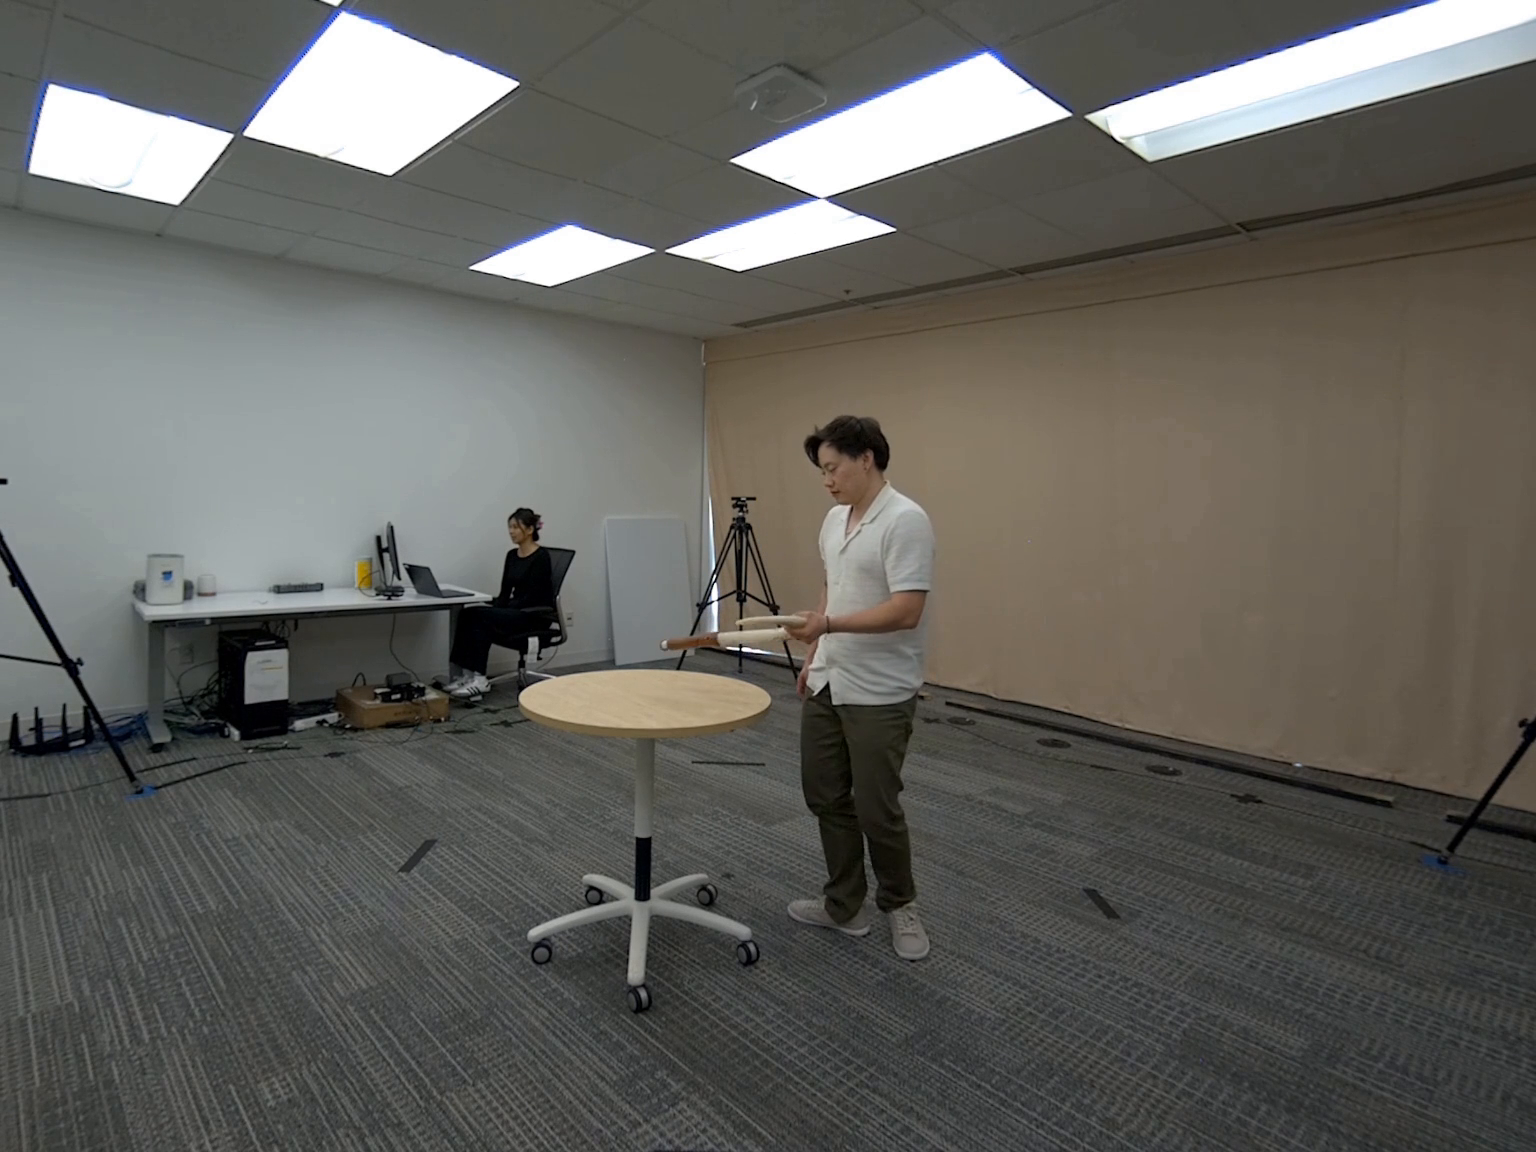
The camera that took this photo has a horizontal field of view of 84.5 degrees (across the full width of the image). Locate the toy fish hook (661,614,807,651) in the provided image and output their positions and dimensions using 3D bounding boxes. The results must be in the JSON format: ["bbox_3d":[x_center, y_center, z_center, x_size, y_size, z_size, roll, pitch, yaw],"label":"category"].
[{"bbox_3d":[-0.119,0.171,2.489,0.513,0.049,0.218,-10,-25,20],"label":"toy fish hook"}]
